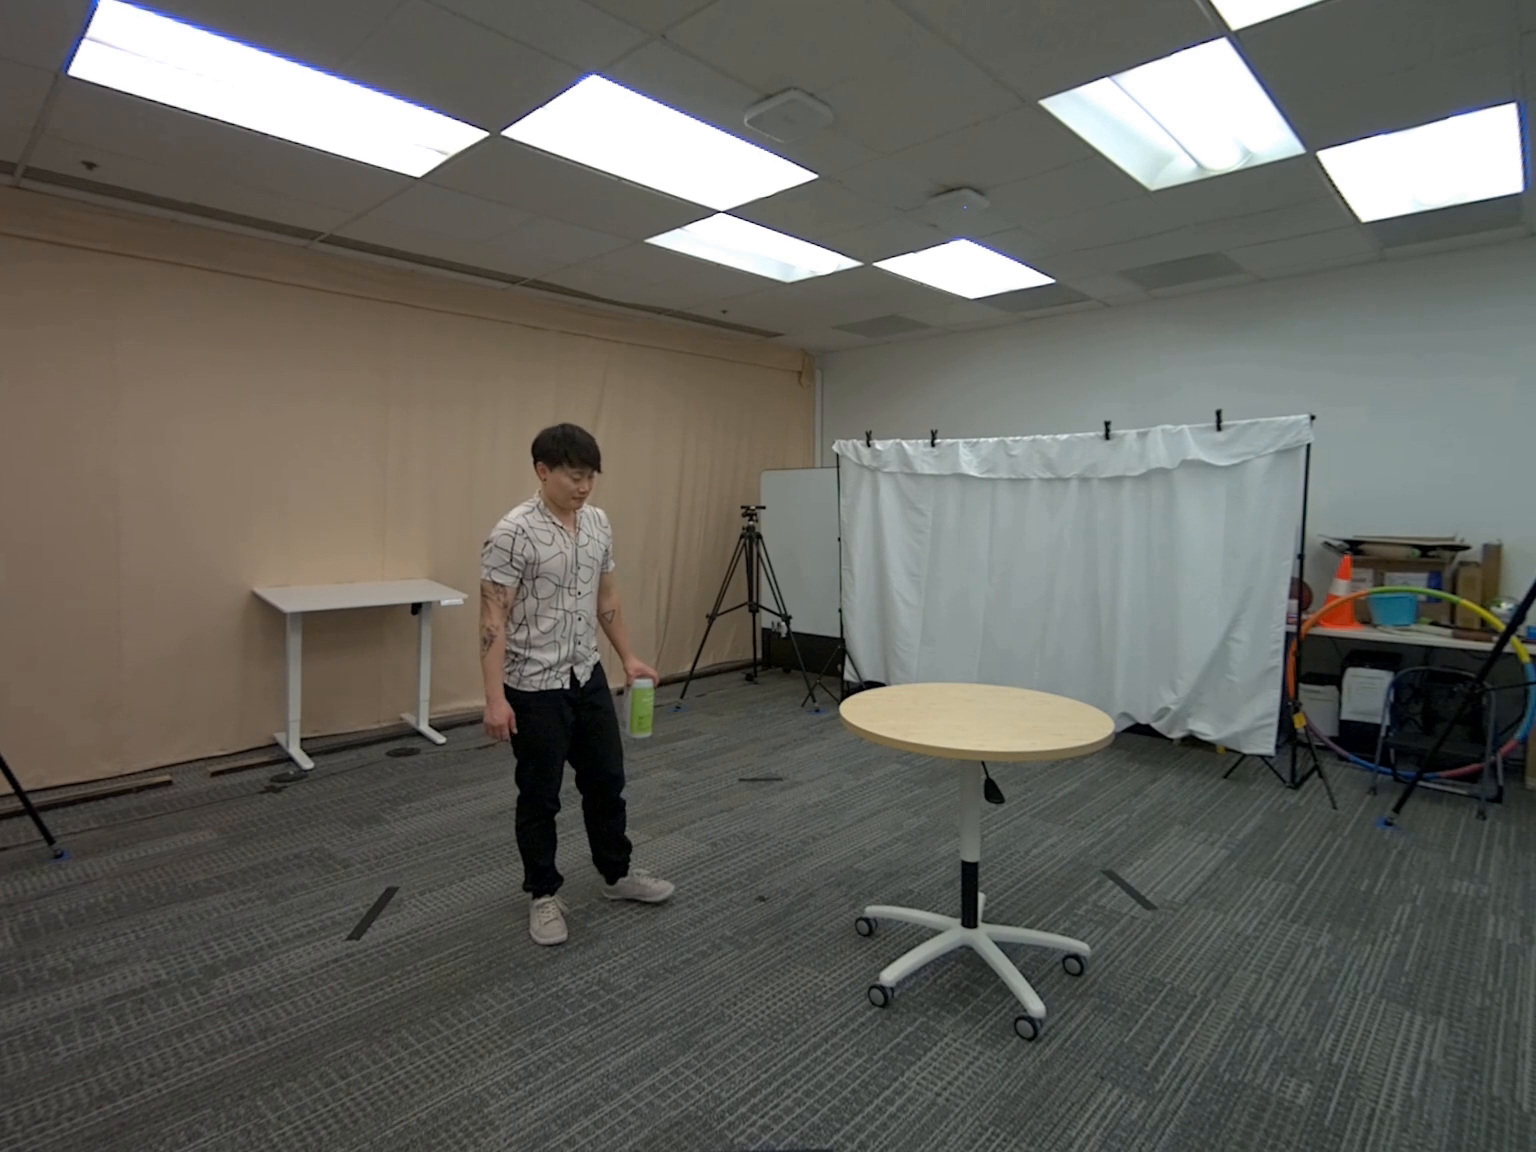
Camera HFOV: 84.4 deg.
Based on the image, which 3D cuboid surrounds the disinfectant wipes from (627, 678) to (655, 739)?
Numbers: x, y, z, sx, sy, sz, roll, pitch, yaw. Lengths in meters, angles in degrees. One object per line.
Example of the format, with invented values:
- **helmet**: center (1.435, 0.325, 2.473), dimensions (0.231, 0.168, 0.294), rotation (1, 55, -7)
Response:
- **disinfectant wipes**: center (-0.469, 0.468, 3.023), dimensions (0.117, 0.216, 0.118), rotation (3, 8, -2)
